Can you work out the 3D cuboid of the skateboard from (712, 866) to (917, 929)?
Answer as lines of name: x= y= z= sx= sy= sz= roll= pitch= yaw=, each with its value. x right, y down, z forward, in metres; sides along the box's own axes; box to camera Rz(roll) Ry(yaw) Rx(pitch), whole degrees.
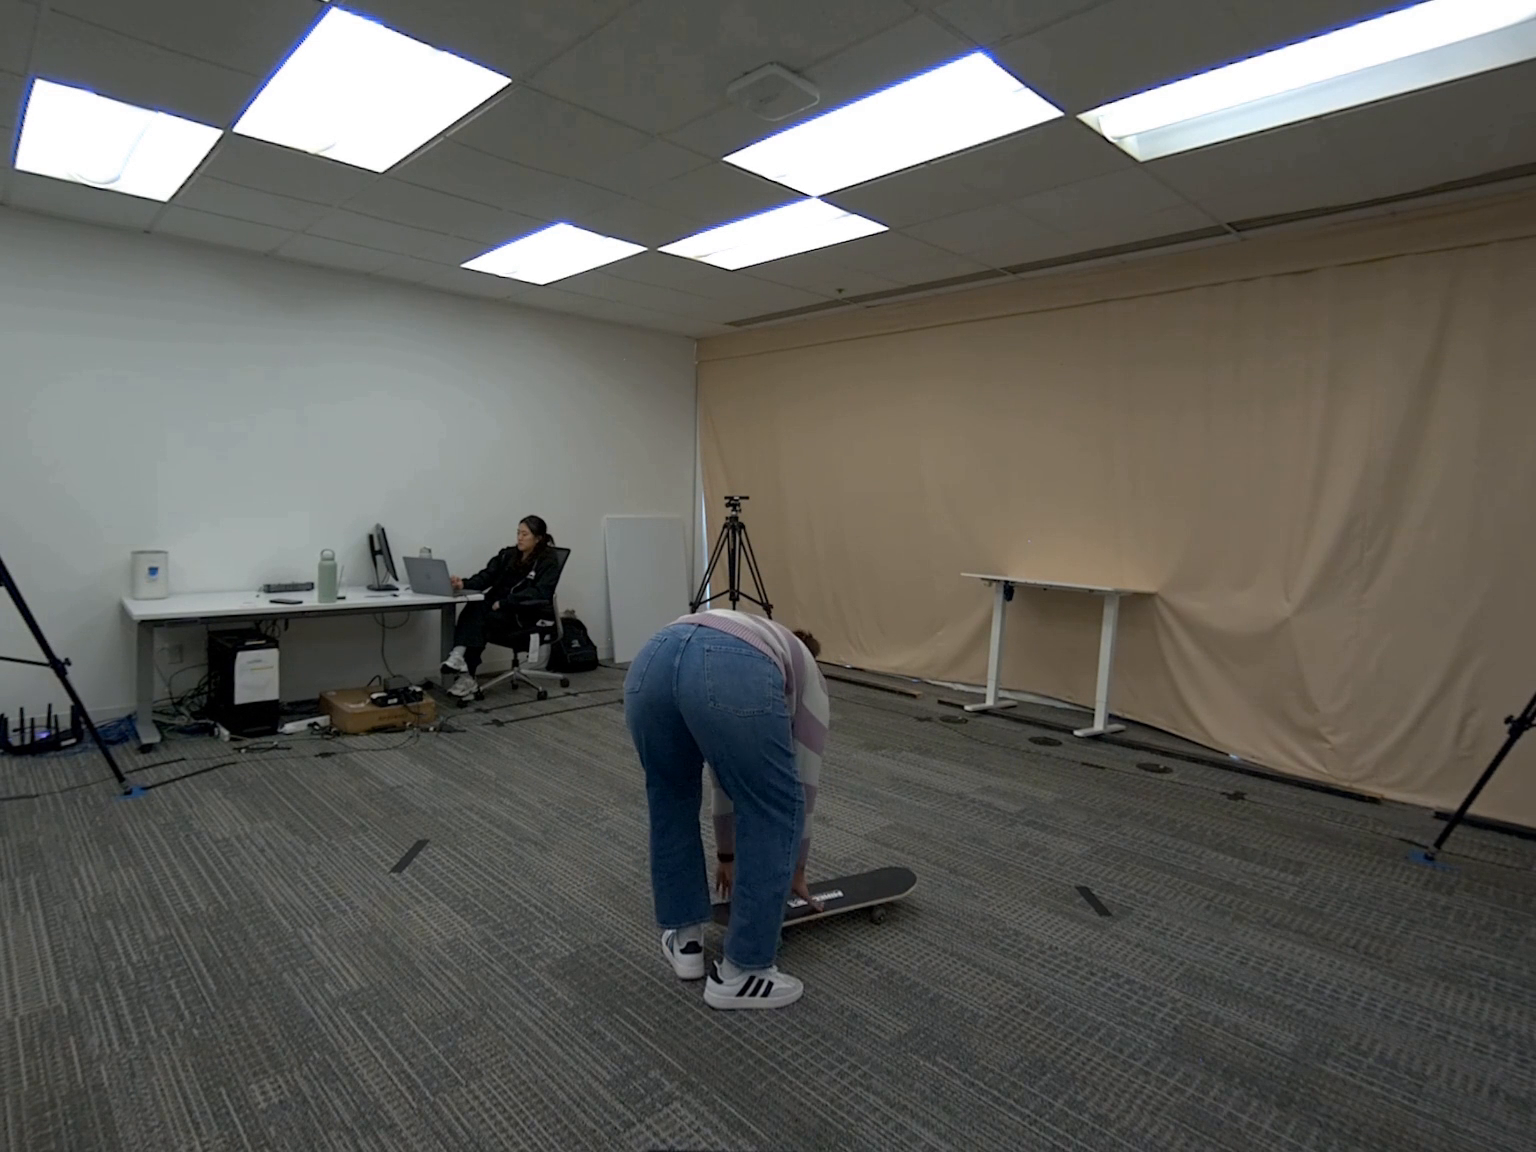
skateboard: x=0.146 y=1.079 z=2.751 sx=0.771 sy=0.110 sz=0.198 roll=-2 pitch=7 yaw=-27
